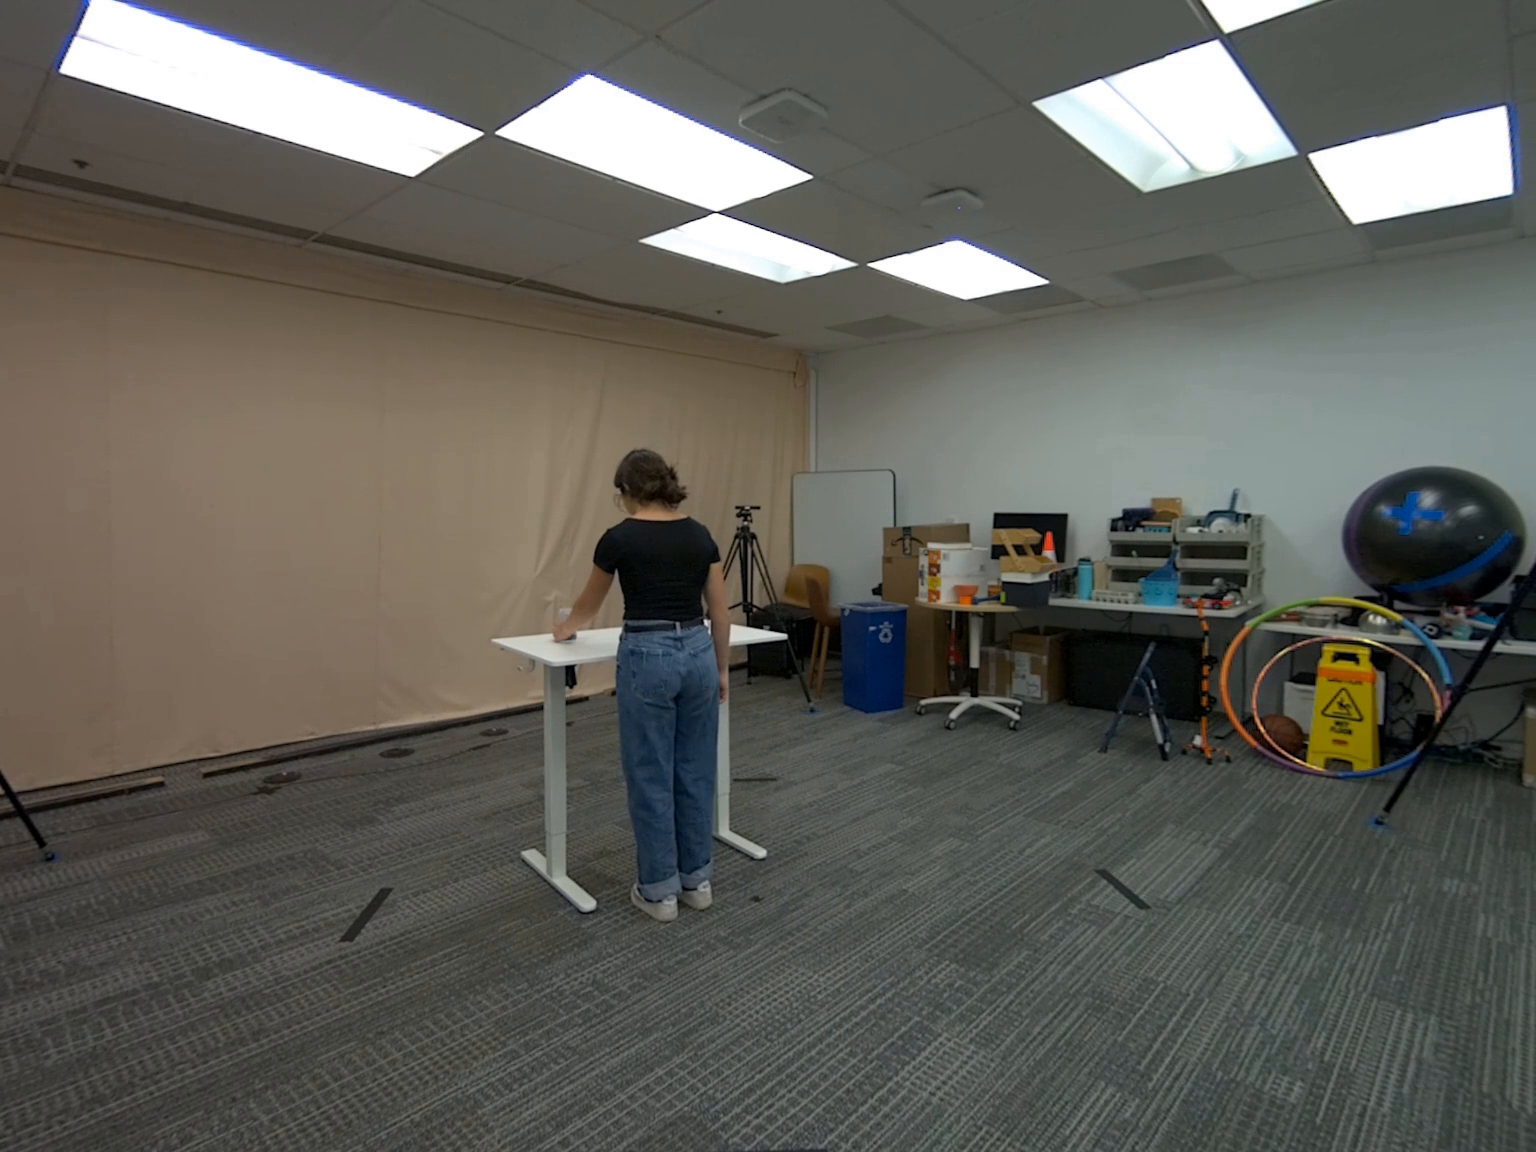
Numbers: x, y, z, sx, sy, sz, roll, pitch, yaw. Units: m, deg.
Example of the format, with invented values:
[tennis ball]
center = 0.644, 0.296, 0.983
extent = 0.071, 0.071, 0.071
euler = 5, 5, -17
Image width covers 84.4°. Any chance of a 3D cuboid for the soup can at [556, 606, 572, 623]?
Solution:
[soup can]
center = -0.775, 0.187, 3.249
extent = 0.067, 0.121, 0.067
euler = -2, 4, -2
